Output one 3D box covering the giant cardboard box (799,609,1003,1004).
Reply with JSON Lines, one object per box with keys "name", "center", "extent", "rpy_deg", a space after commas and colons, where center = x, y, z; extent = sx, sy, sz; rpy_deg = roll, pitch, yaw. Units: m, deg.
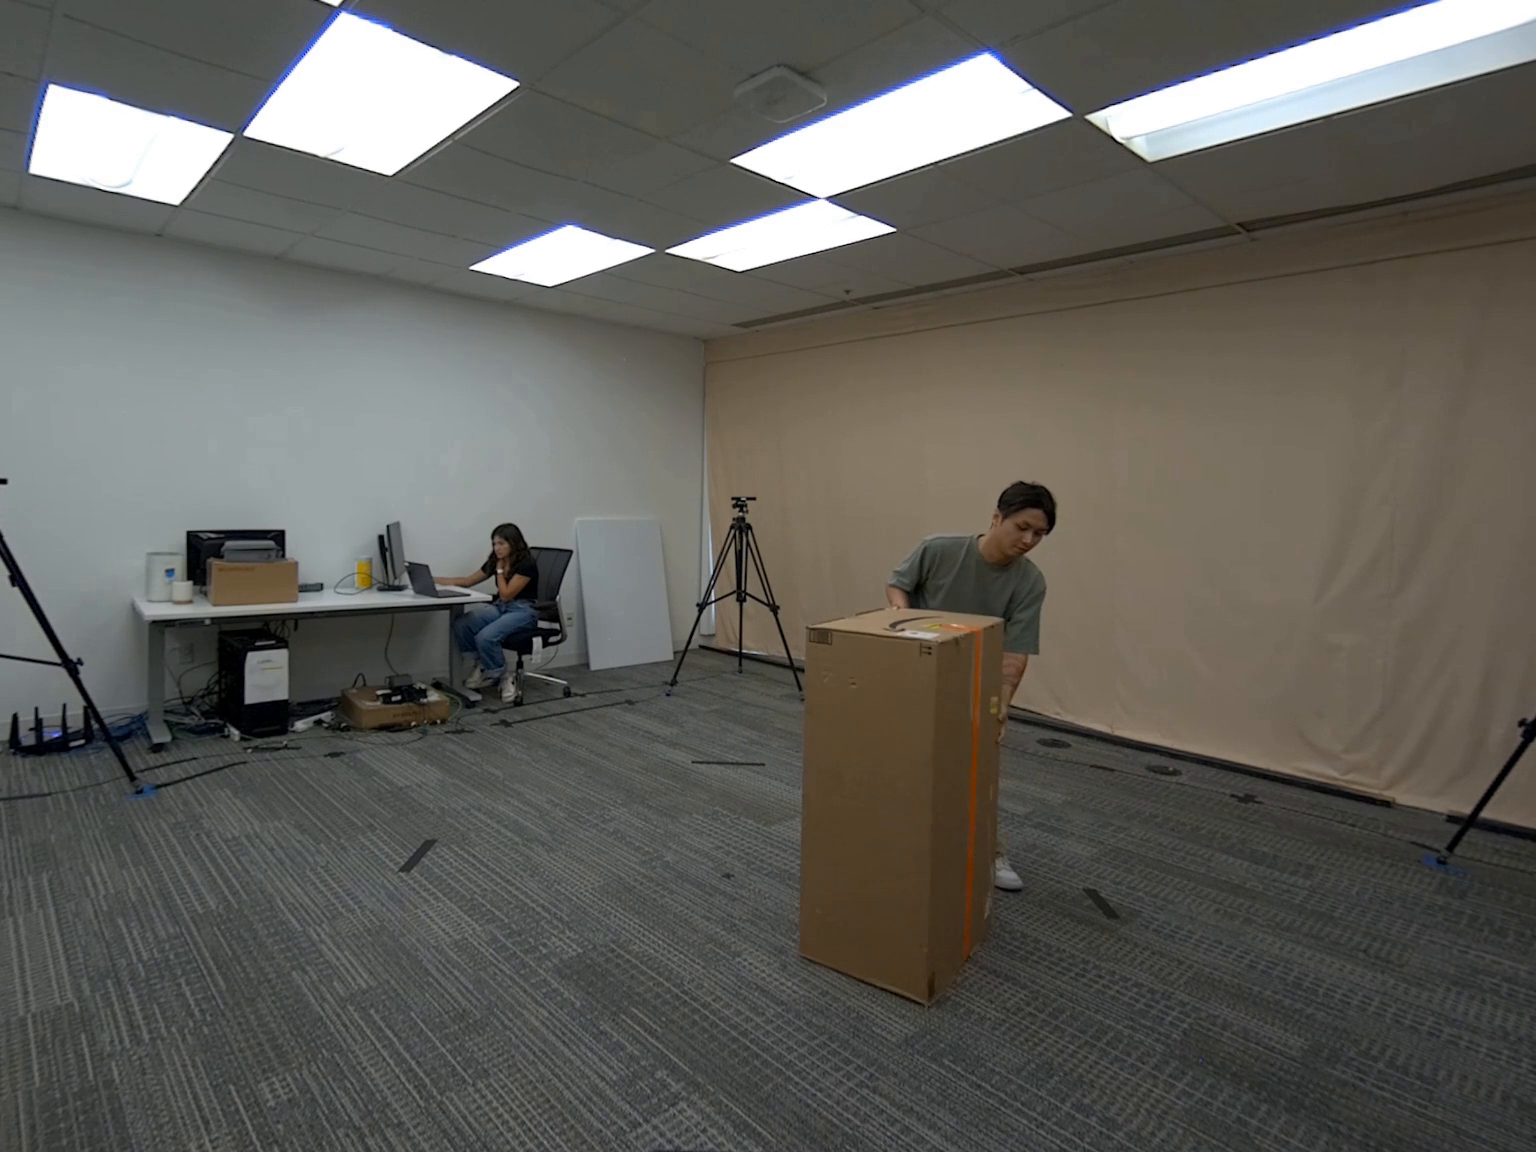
{"name": "giant cardboard box", "center": [0.428, 0.656, 2.651], "extent": [0.436, 1.023, 0.565], "rpy_deg": [3, 4, 34]}
